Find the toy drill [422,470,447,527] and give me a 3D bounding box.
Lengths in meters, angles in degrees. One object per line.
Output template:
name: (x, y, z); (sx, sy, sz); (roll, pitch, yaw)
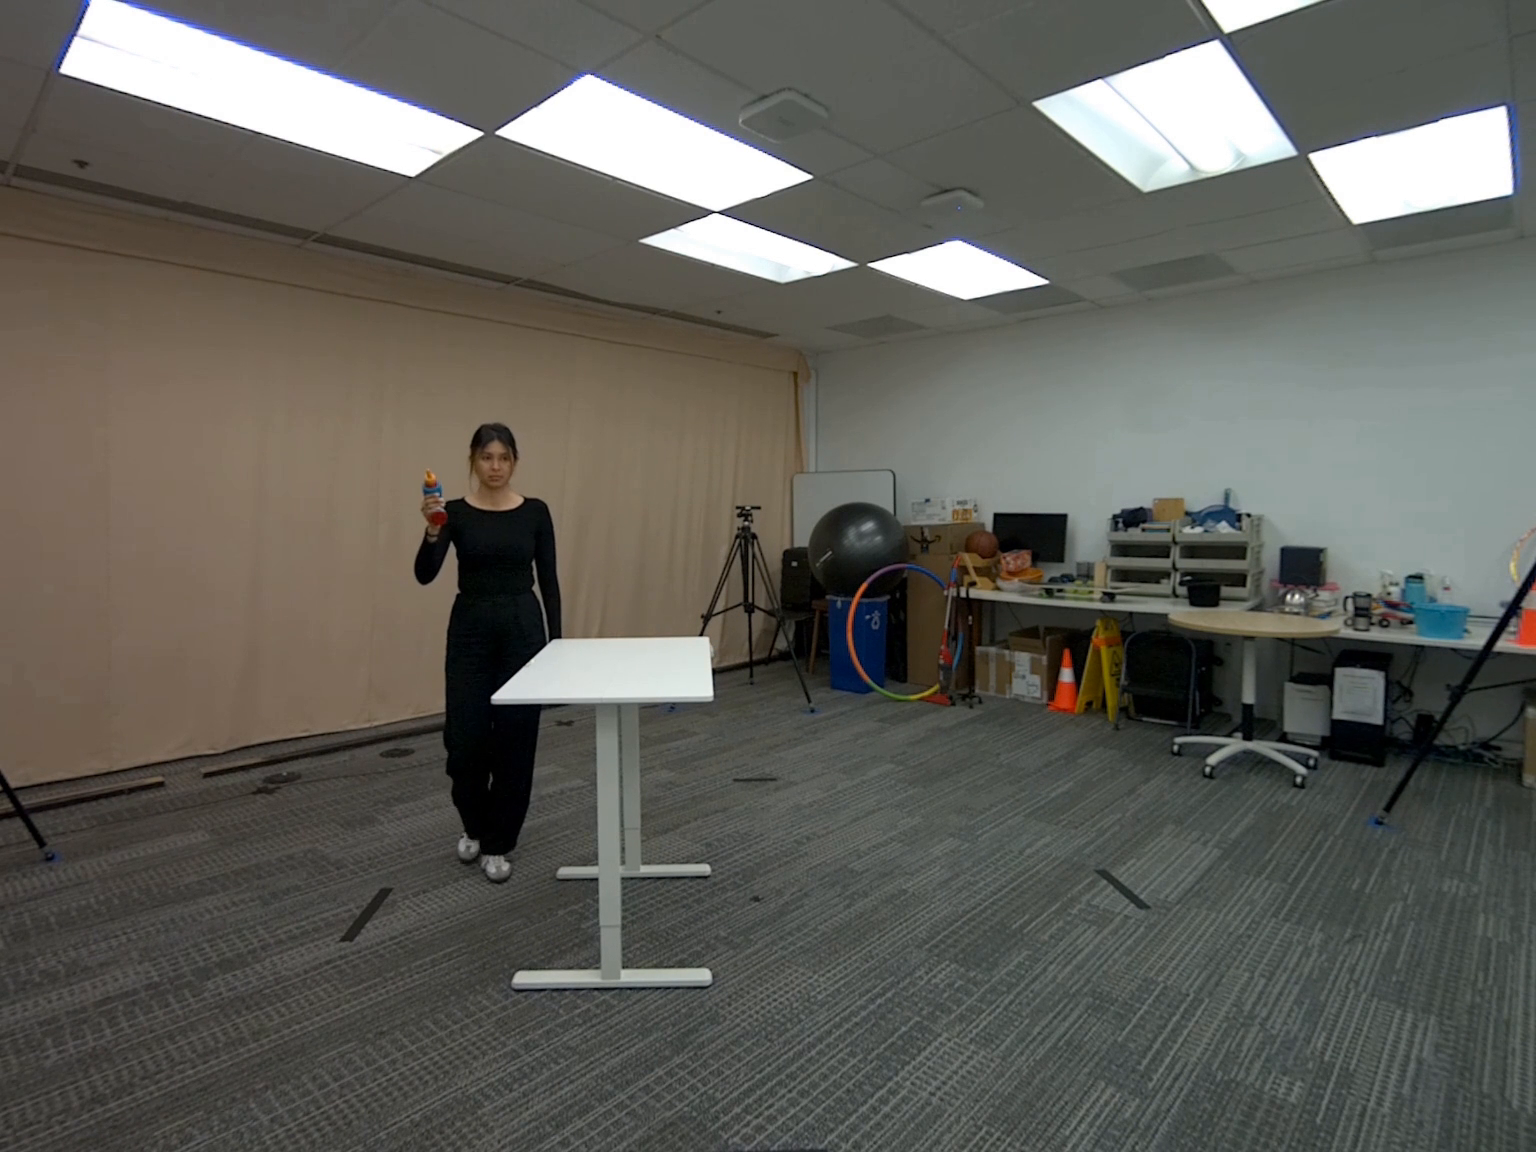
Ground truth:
toy drill: (-1.114, -0.267, 2.802); (0.060, 0.150, 0.168); (-6, -33, -19)
